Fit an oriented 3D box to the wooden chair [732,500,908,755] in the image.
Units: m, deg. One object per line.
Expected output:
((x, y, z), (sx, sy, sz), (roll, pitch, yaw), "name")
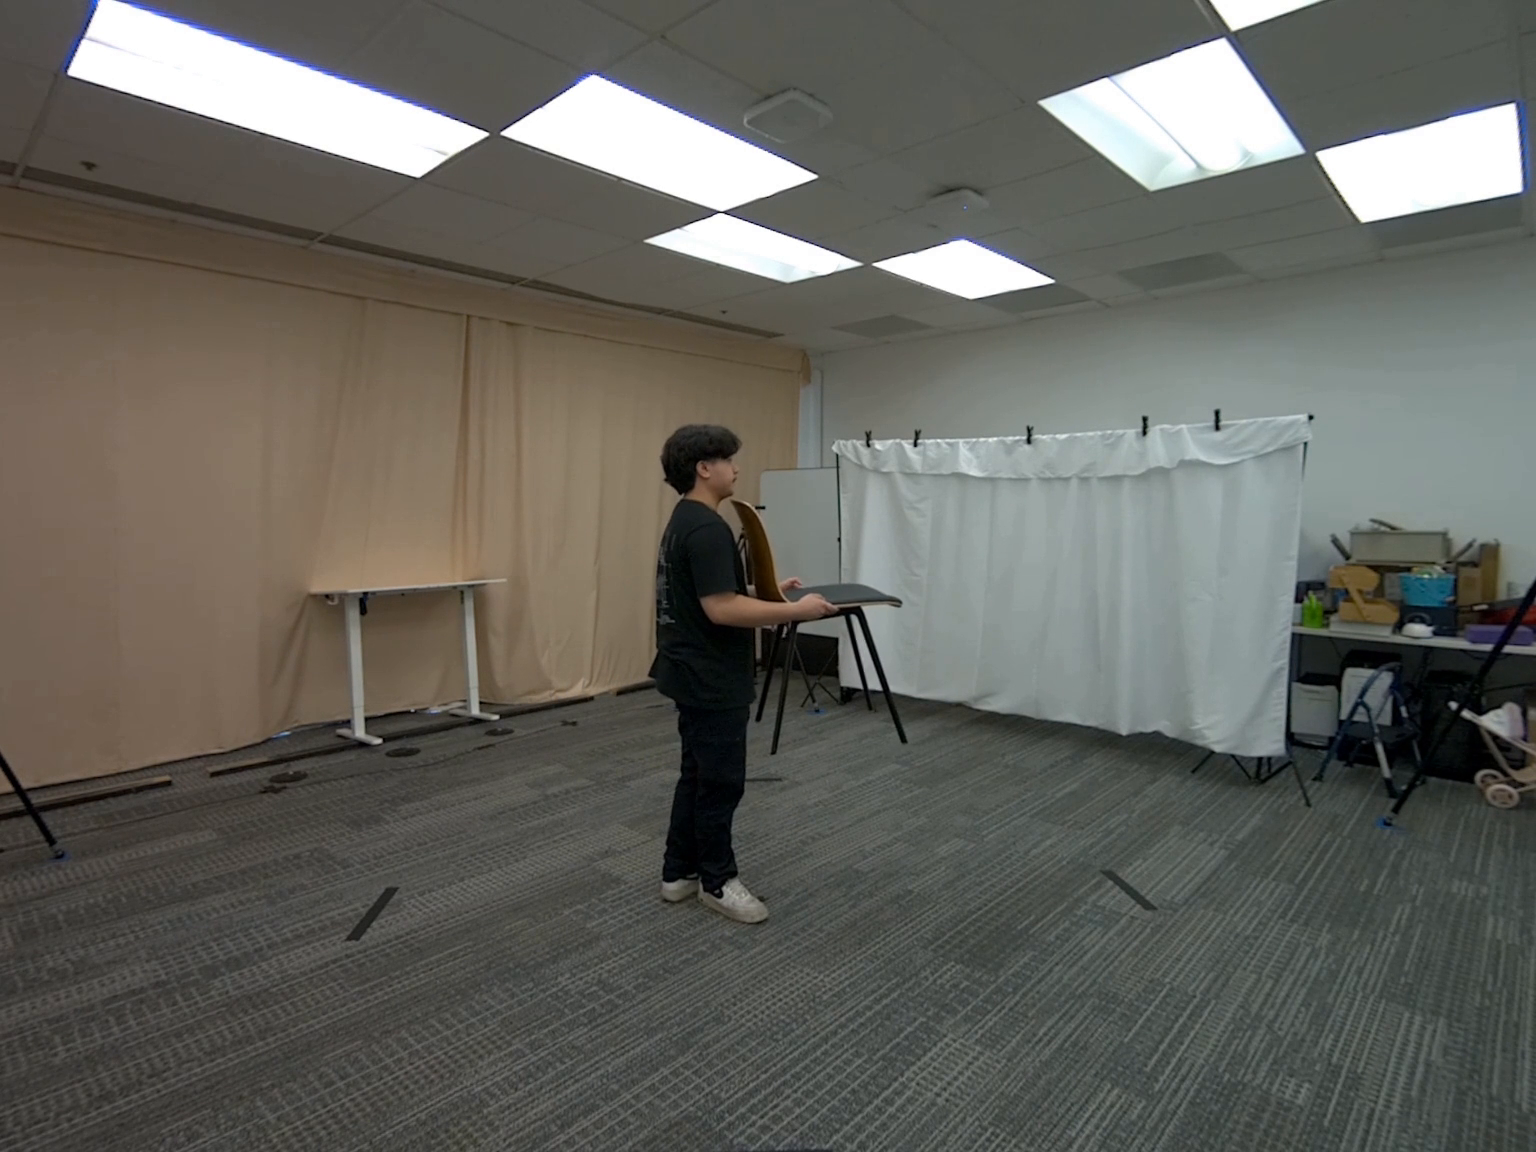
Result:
((0.187, 0.128, 2.981), (0.520, 0.876, 0.482), (-9, 3, -6), "wooden chair")
